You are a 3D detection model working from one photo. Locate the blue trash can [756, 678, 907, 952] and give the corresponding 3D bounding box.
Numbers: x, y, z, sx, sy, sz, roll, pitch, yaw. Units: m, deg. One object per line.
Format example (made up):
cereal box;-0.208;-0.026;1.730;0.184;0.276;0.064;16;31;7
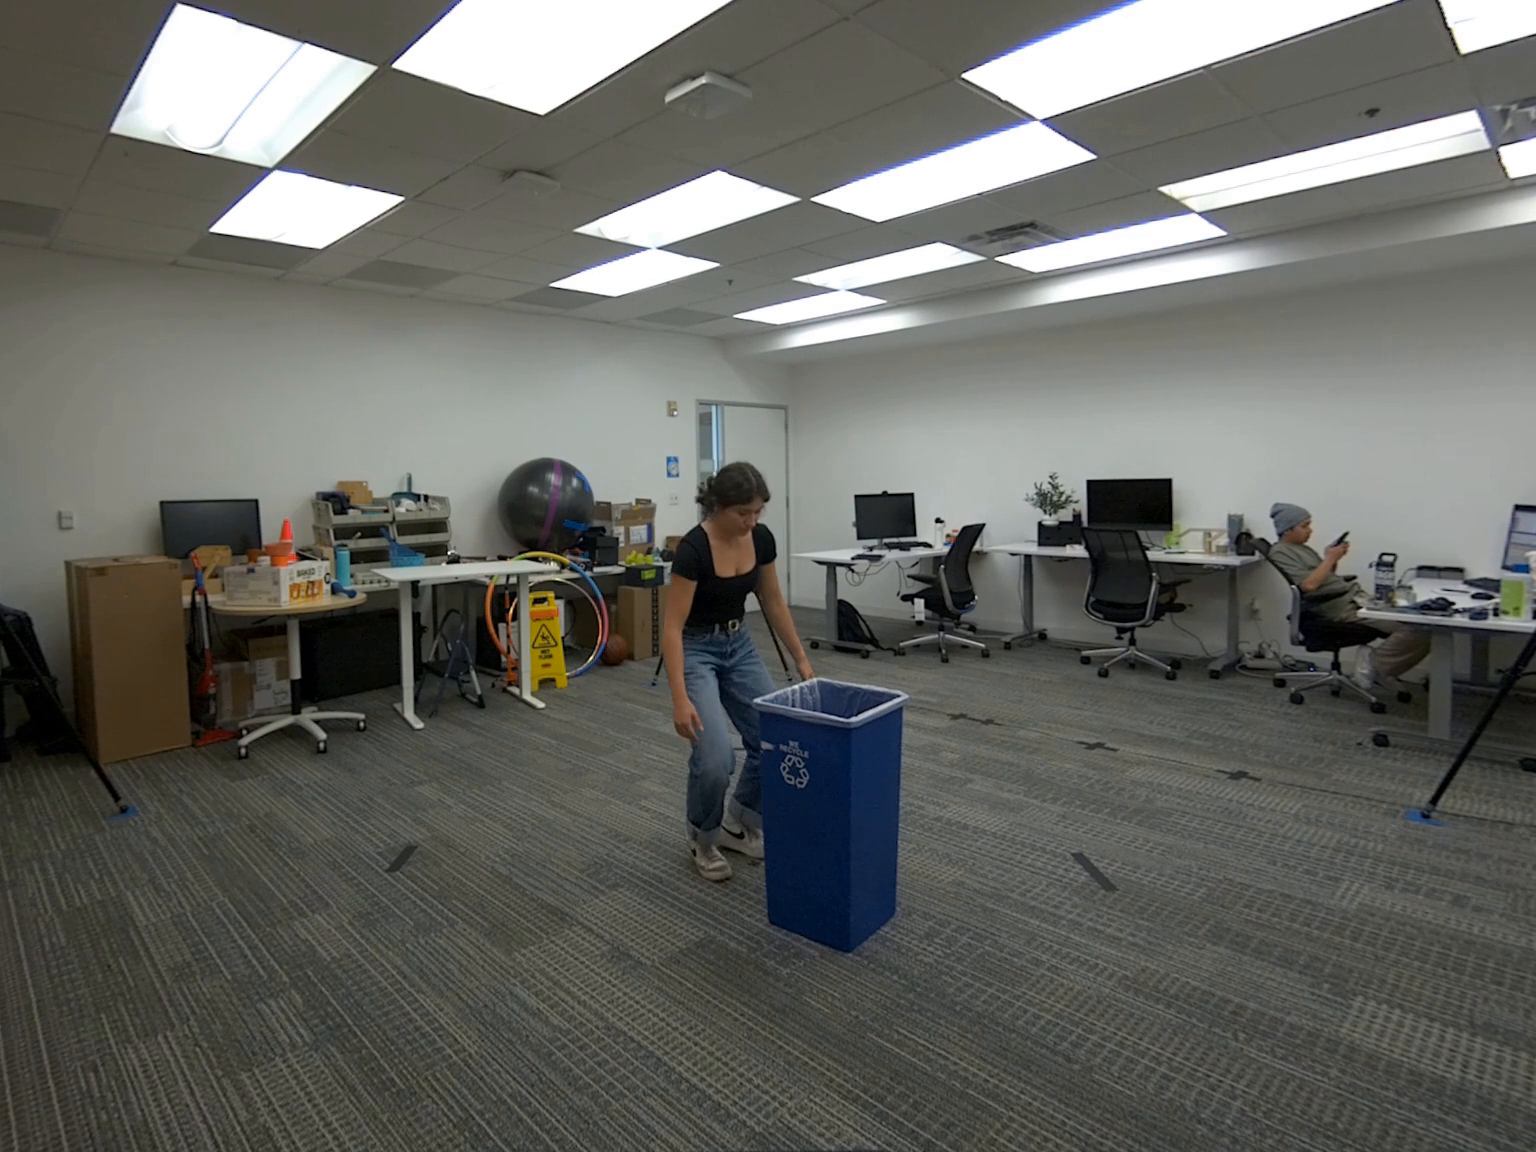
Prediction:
blue trash can;0.211;0.733;2.682;0.385;0.711;0.369;2;6;38
